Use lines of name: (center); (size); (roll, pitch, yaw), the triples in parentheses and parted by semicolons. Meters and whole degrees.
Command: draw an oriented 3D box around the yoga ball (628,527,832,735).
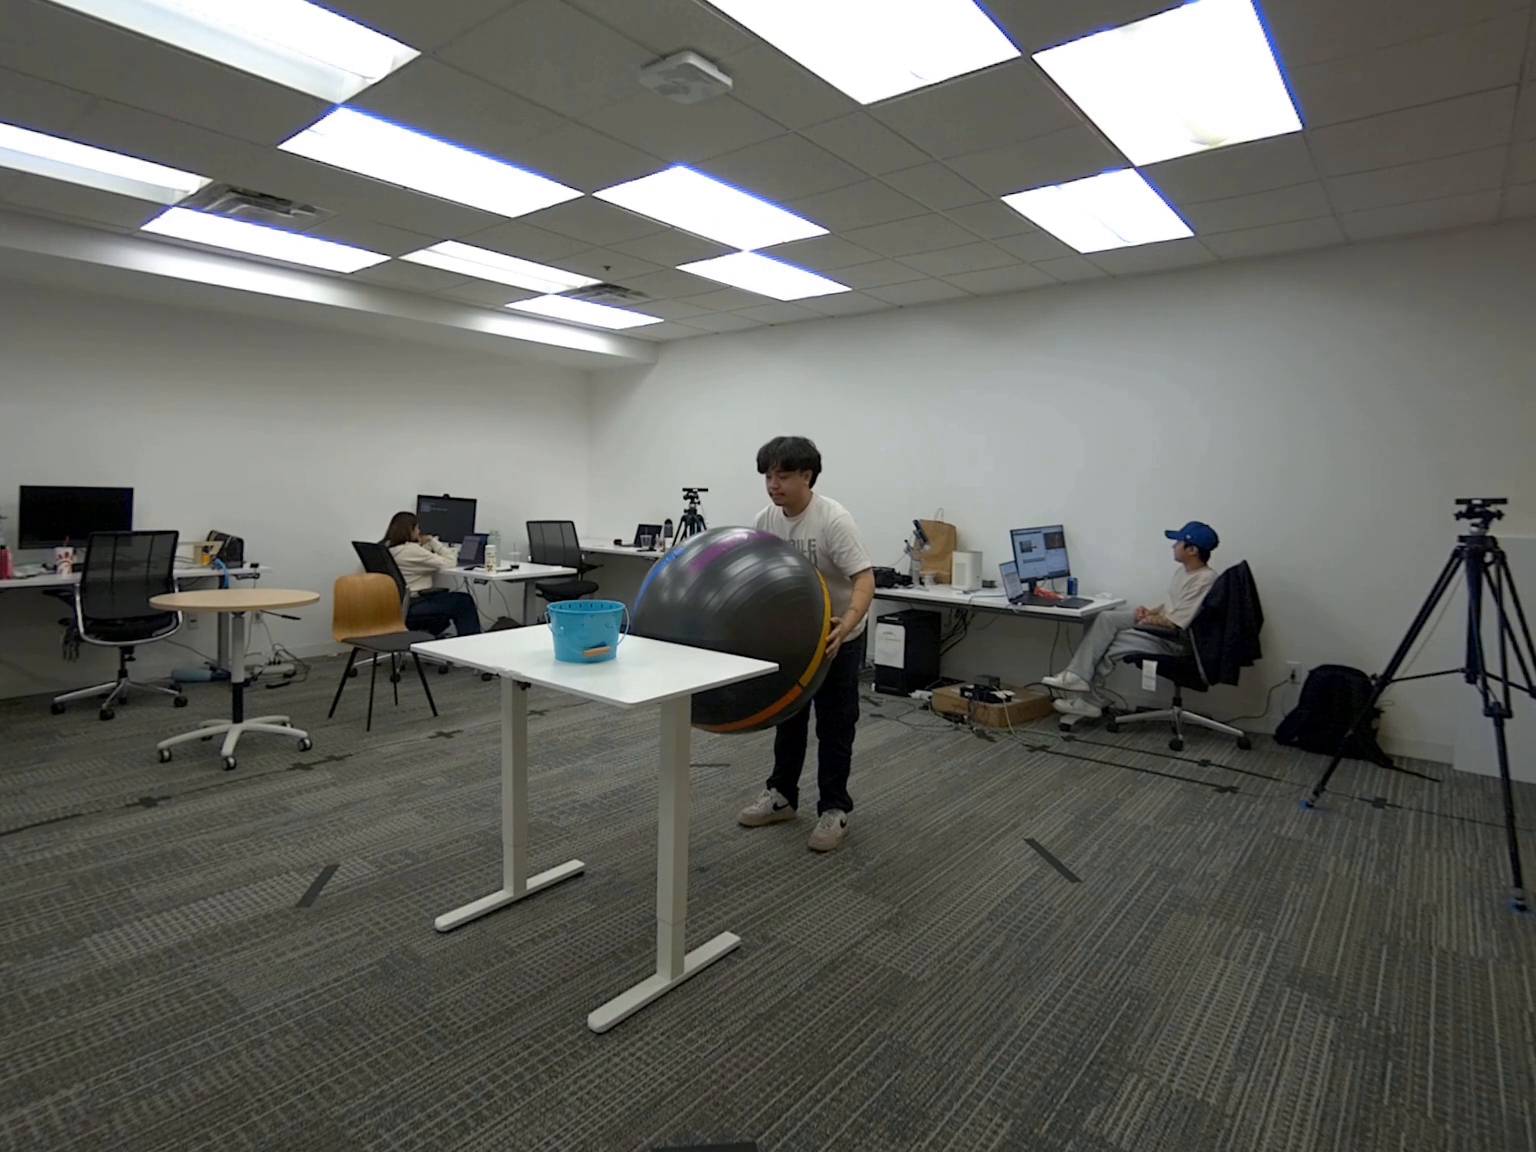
yoga ball: (-0.137, 0.202, 3.148); (0.757, 0.755, 0.762); (1, 4, -2)
